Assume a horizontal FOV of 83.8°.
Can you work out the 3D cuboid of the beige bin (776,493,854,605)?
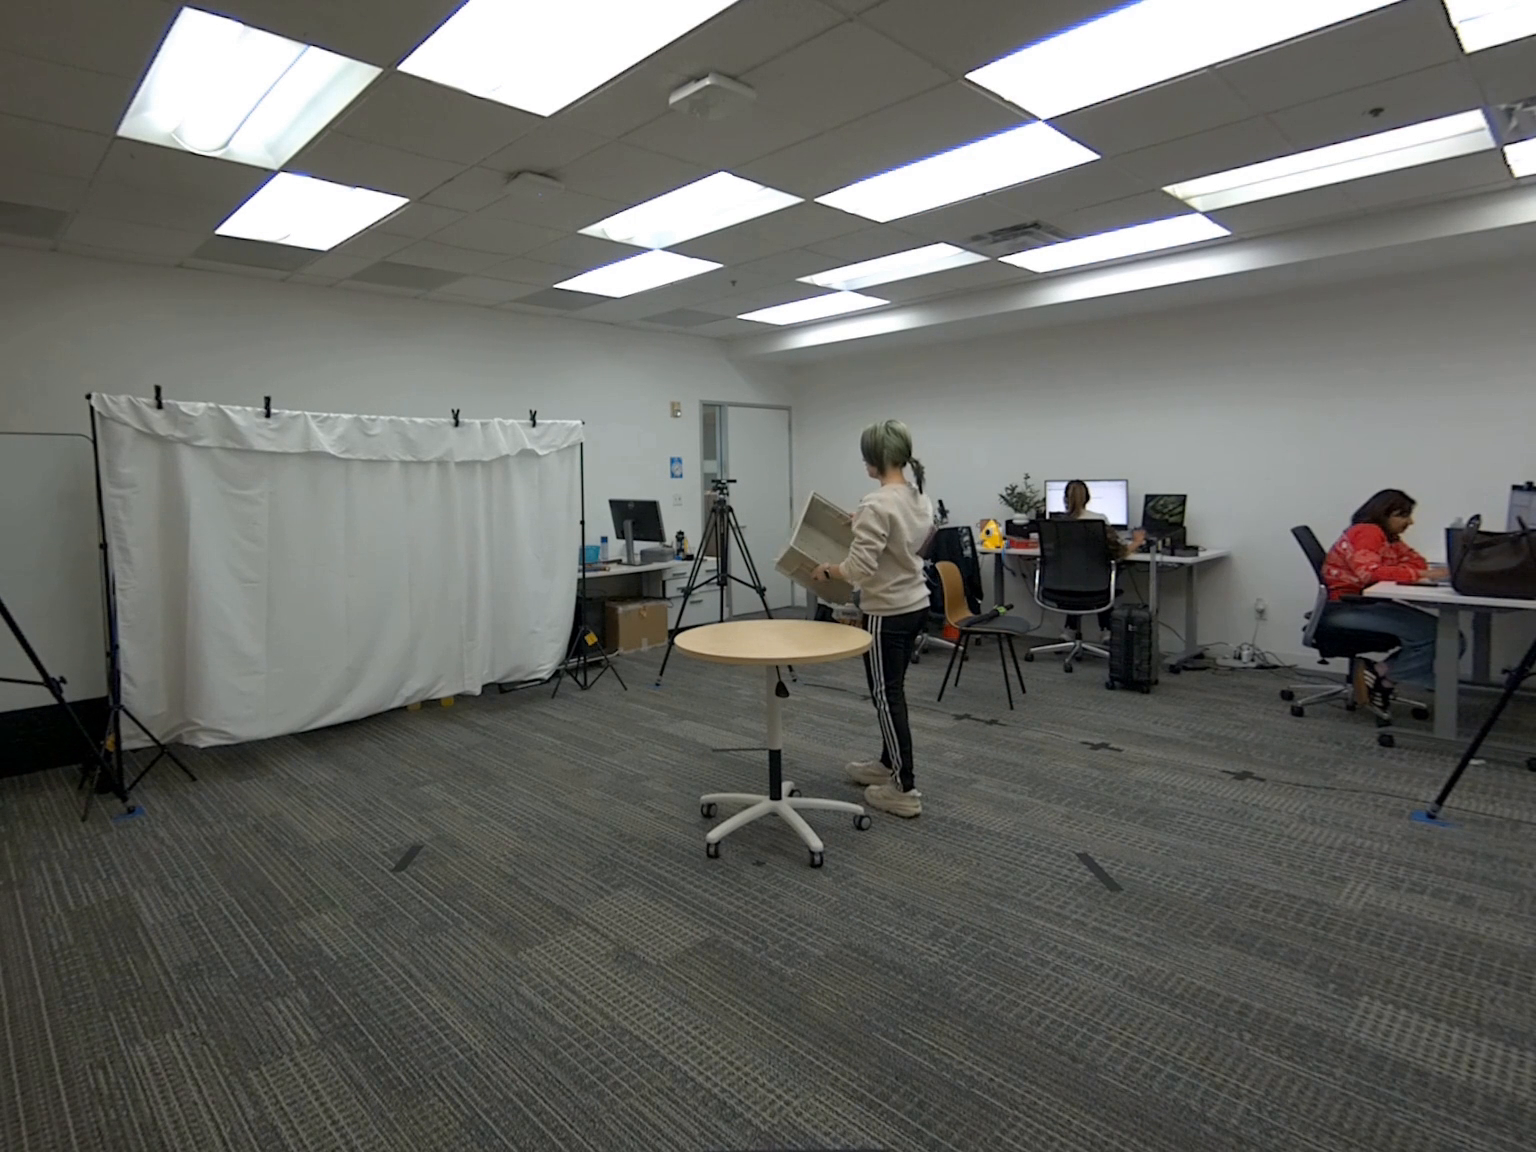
[{"bbox_3d":[0.267,-0.136,4.006,0.375,0.188,0.427,30,44,-6],"label":"beige bin"}]
